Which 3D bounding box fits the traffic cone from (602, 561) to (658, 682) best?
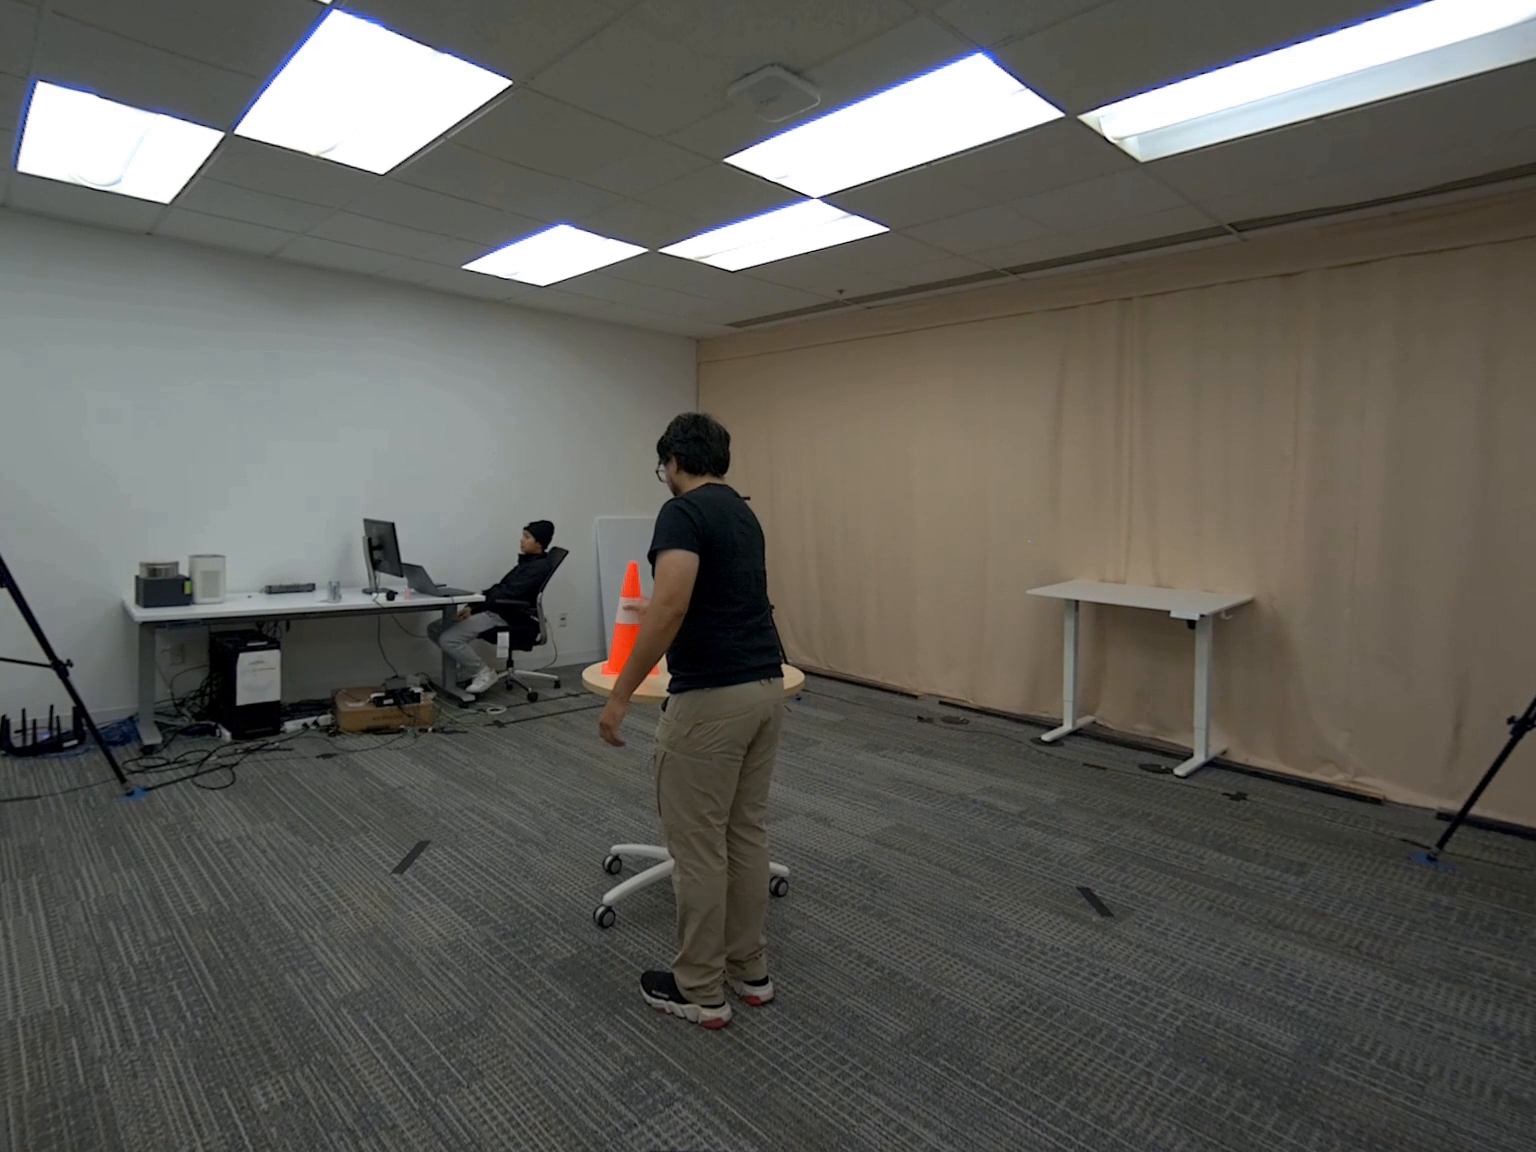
[{"bbox_3d":[-0.489,0.146,2.945,0.203,0.383,0.205,2,4,-10],"label":"traffic cone"}]
